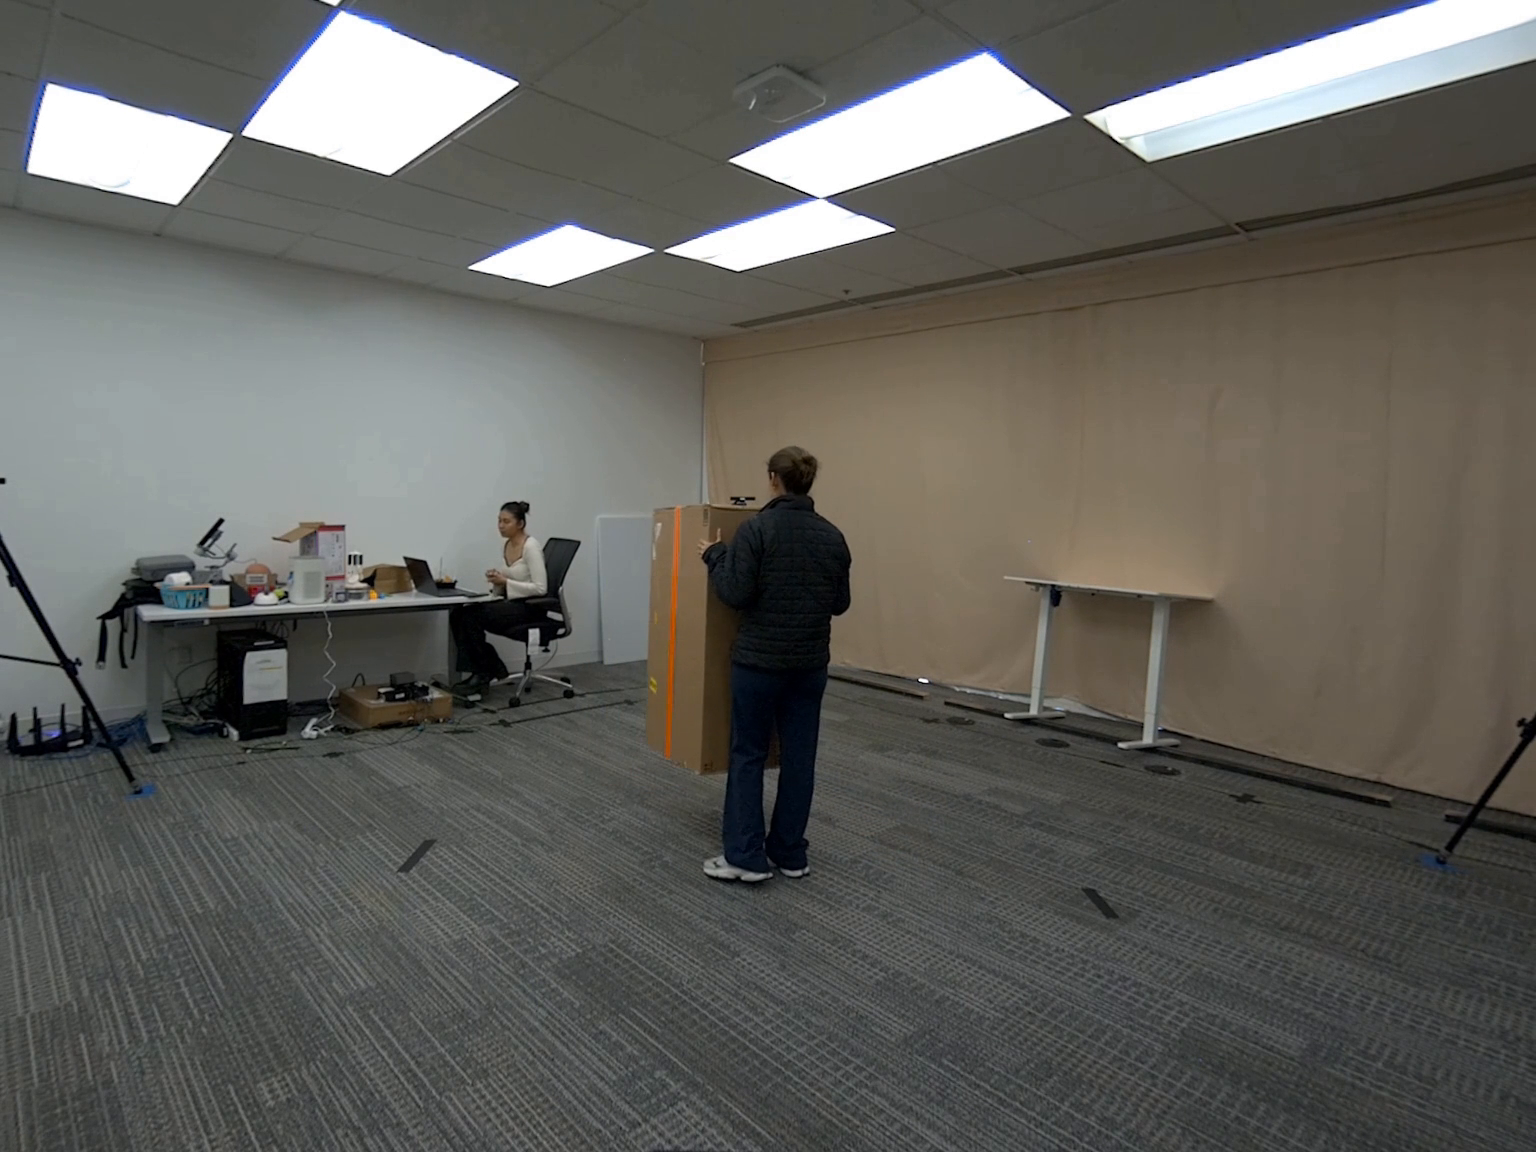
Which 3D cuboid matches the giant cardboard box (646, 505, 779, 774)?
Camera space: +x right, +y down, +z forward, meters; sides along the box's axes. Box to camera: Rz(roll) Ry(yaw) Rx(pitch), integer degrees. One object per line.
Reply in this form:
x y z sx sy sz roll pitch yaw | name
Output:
-0.214 0.239 3.487 0.418 1.026 0.589 2 0 -28 | giant cardboard box
